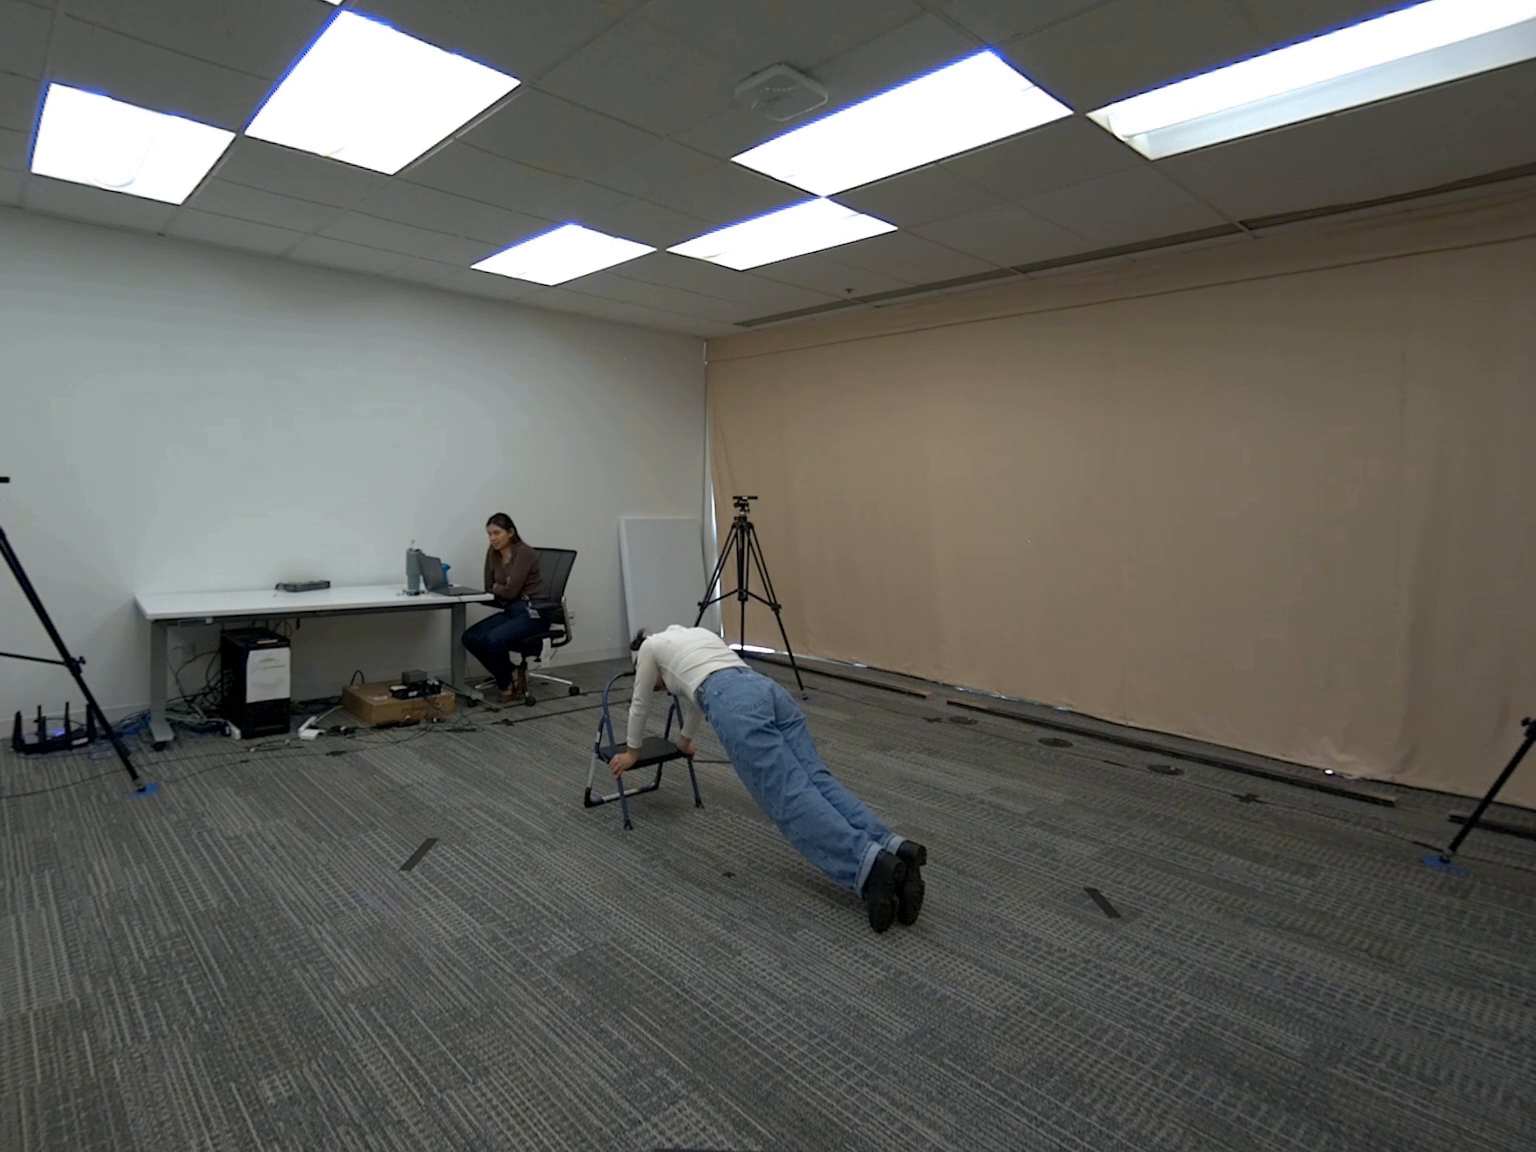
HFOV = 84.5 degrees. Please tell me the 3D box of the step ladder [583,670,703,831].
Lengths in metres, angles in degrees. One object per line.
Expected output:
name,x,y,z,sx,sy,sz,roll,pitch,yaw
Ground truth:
step ladder,-0.558,0.737,3.755,0.358,0.605,0.421,5,5,45
